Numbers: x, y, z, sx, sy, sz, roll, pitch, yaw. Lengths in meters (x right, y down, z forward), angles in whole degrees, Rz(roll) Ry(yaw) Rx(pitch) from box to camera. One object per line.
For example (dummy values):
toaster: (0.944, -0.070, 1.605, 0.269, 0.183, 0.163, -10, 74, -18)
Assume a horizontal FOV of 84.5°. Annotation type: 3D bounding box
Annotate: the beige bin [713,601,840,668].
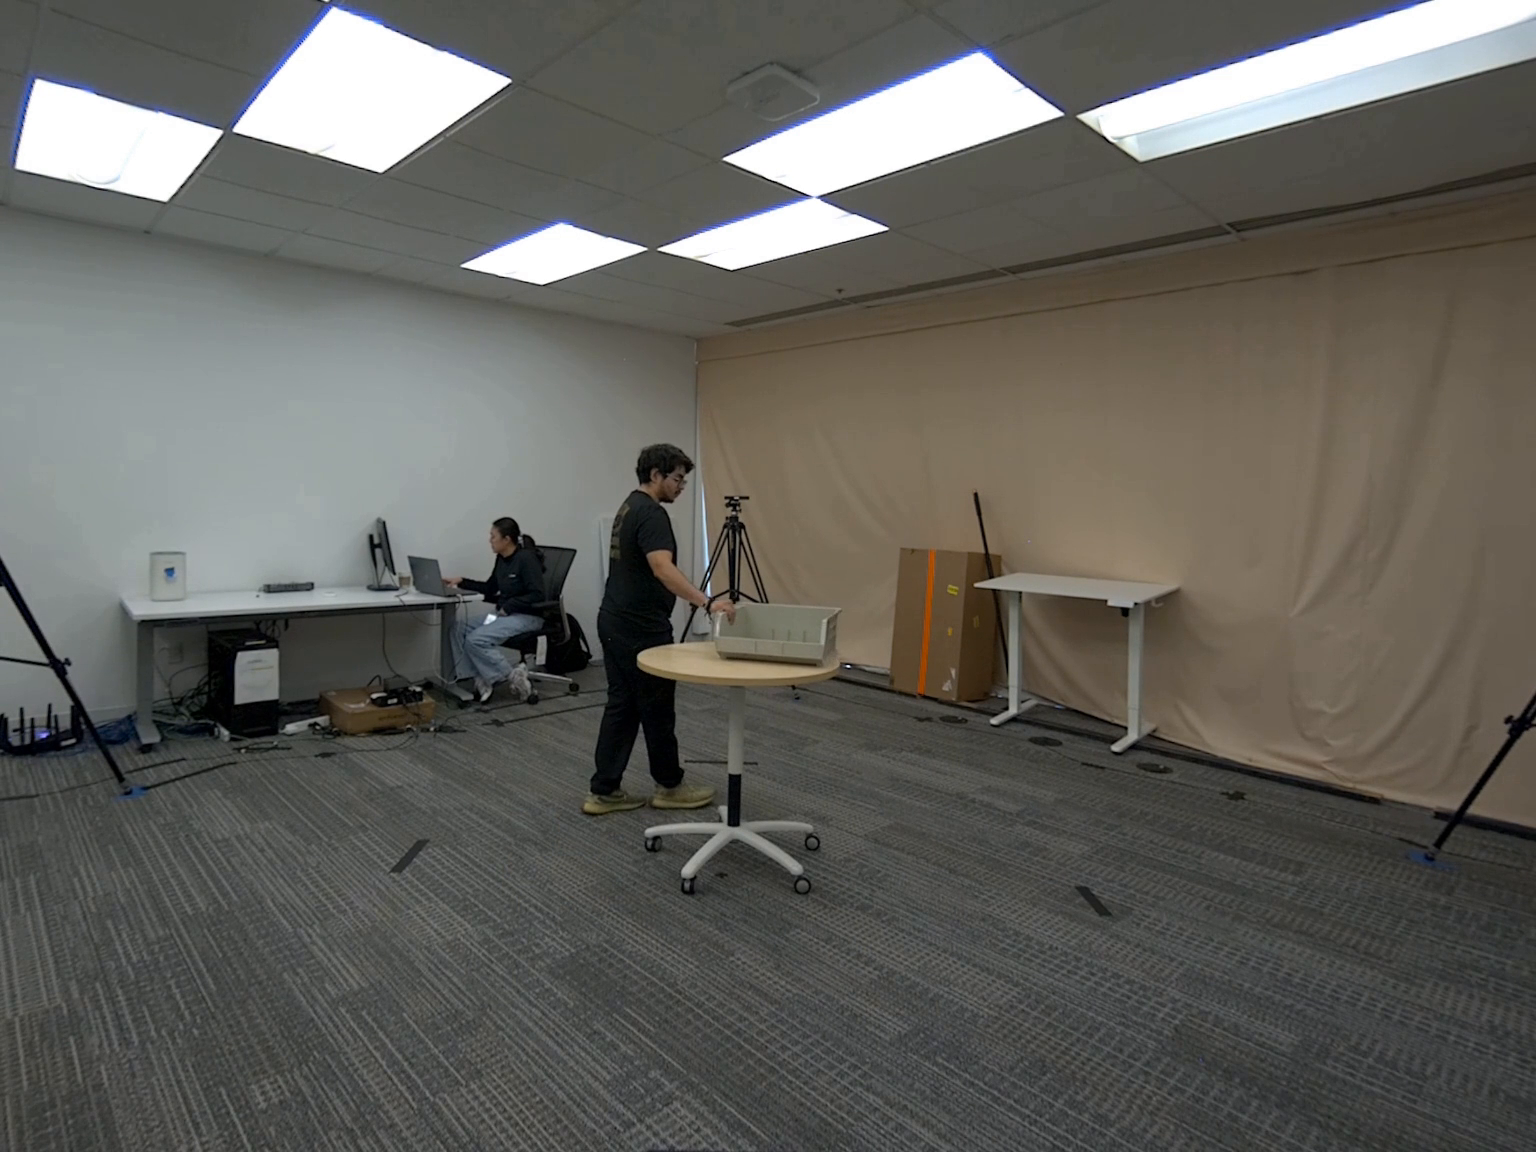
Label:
beige bin: (0.037, 0.221, 3.243, 0.428, 0.189, 0.373, 3, 3, 15)
